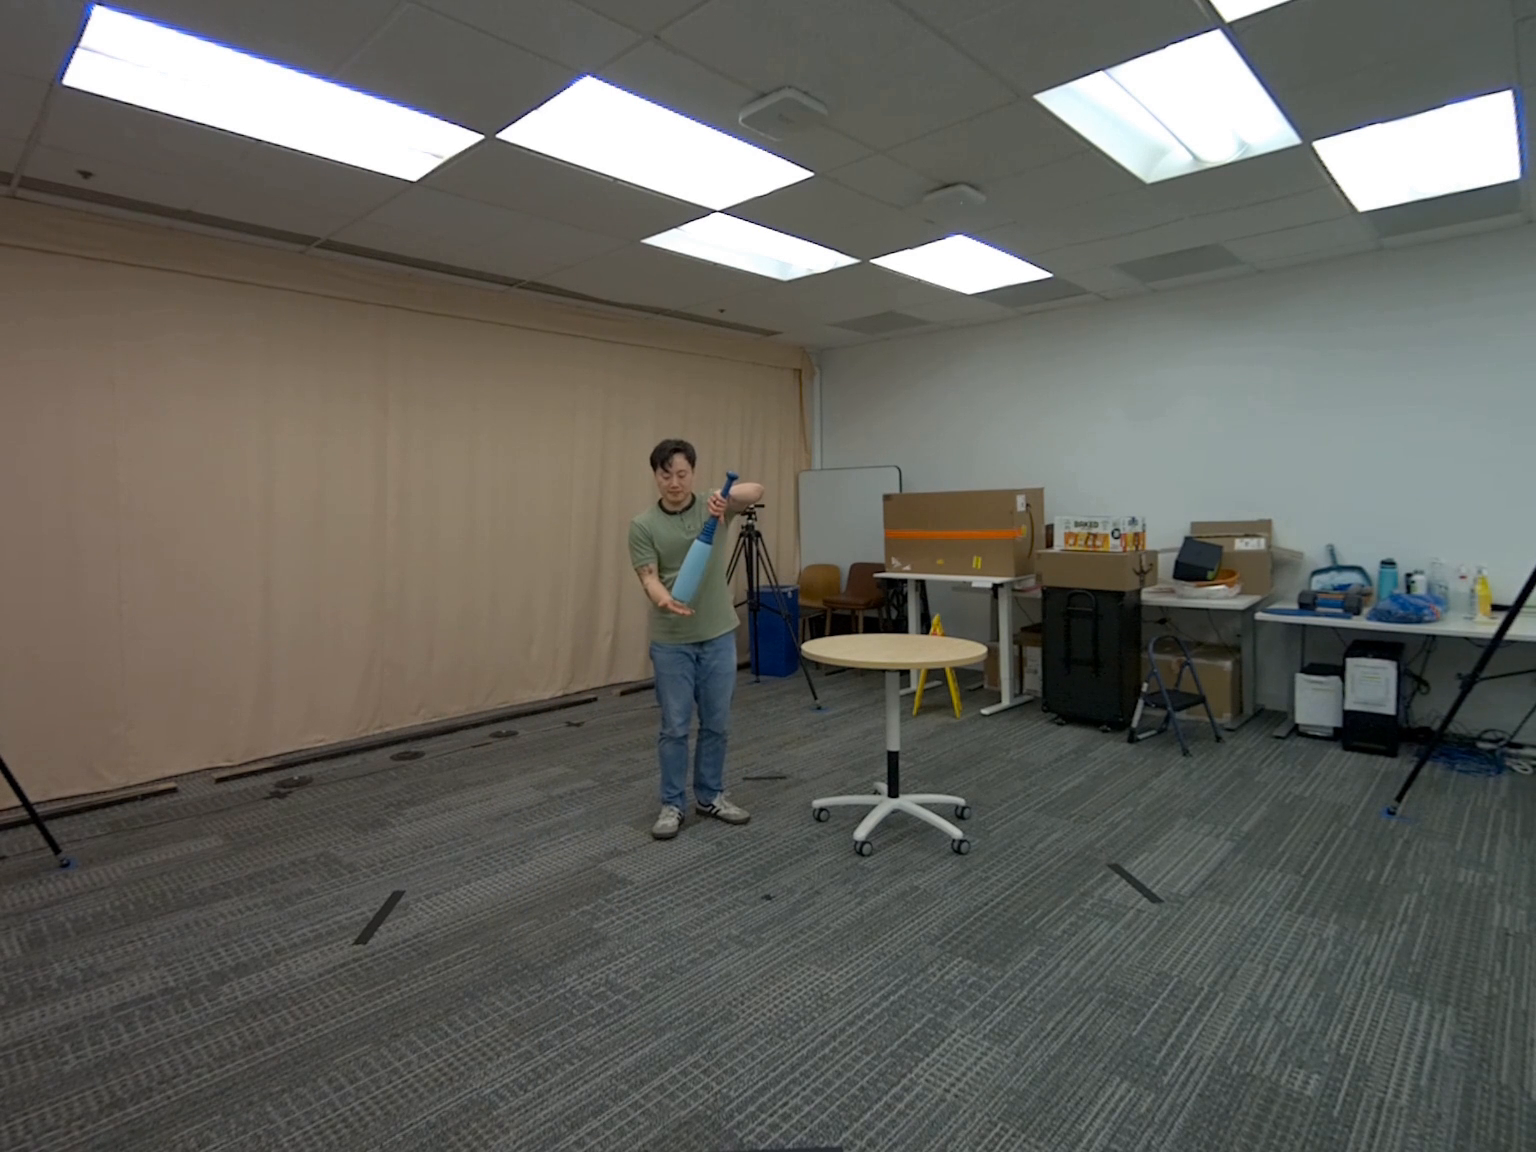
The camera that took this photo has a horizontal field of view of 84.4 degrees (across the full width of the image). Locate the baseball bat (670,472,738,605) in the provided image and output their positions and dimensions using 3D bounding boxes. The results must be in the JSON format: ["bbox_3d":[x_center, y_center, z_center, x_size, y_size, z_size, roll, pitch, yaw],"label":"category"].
[{"bbox_3d":[-0.237,-0.145,3.278,0.088,0.542,0.090,23,8,-6],"label":"baseball bat"}]
